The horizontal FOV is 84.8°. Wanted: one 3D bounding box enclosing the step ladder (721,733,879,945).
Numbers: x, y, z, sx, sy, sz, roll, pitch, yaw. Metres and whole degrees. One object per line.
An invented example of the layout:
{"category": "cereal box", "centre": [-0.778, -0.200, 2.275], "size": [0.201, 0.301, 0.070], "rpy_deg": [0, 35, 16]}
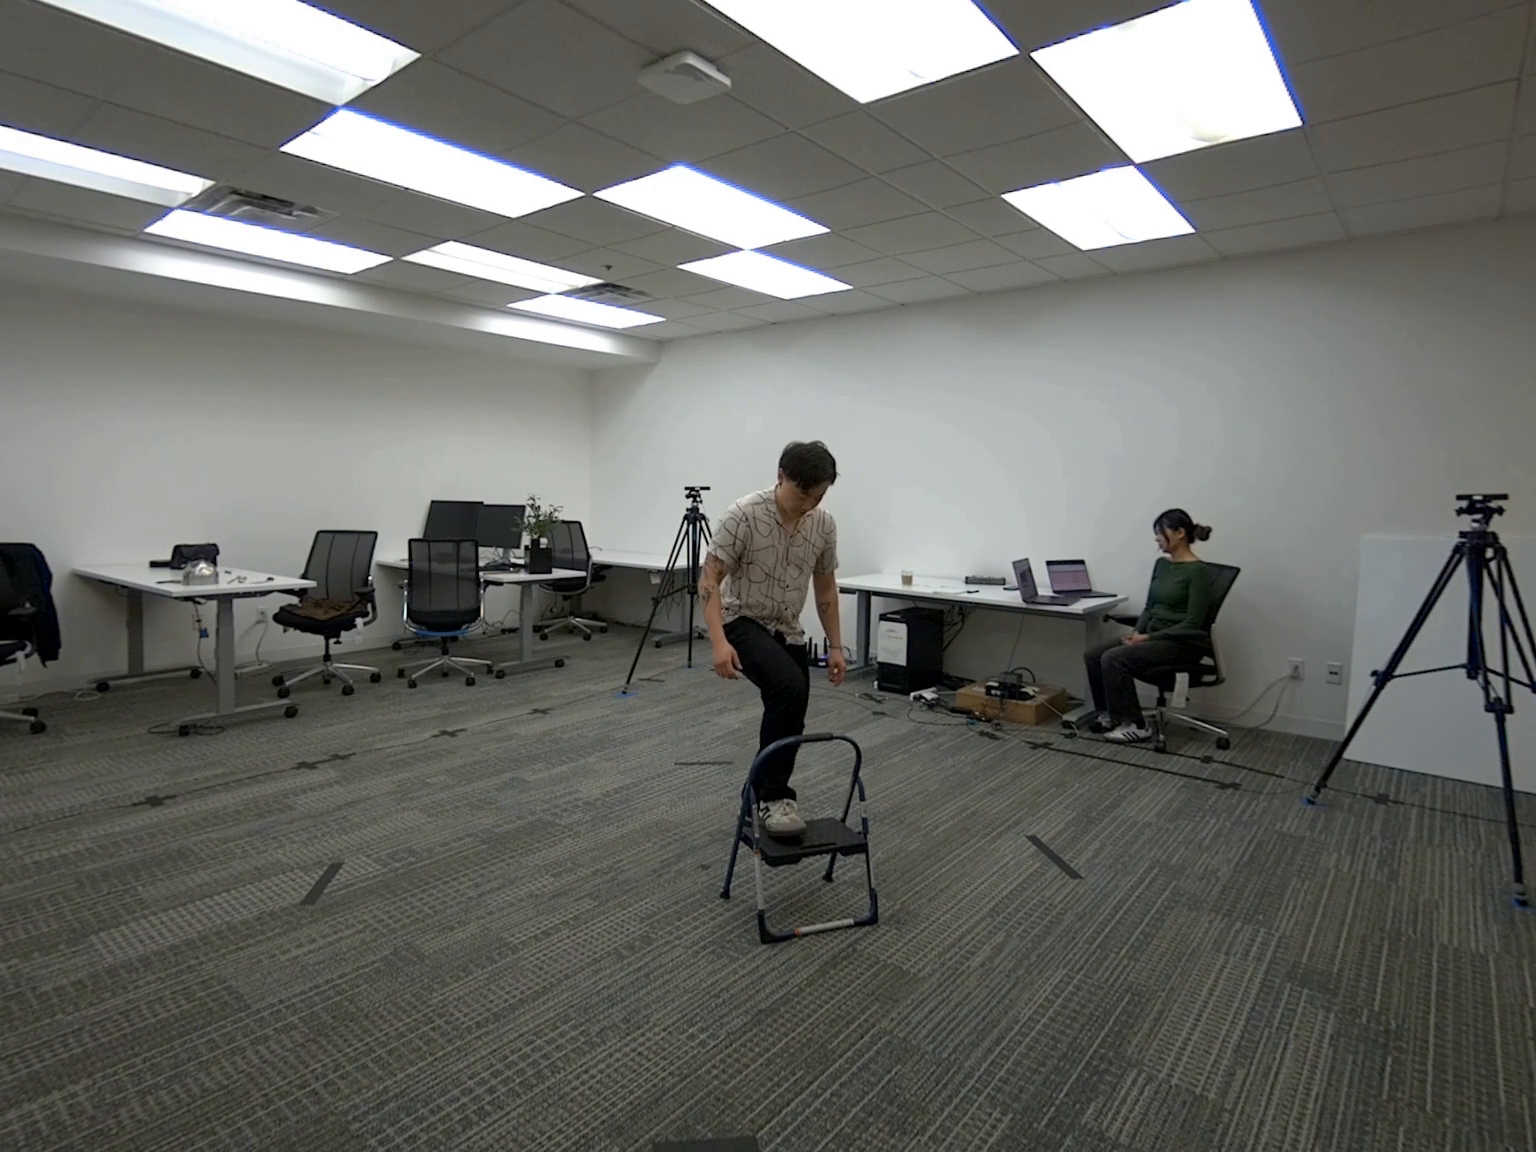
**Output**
{"category": "step ladder", "centre": [0.099, 0.798, 2.805], "size": [0.421, 0.604, 0.358], "rpy_deg": [-1, 4, -24]}
